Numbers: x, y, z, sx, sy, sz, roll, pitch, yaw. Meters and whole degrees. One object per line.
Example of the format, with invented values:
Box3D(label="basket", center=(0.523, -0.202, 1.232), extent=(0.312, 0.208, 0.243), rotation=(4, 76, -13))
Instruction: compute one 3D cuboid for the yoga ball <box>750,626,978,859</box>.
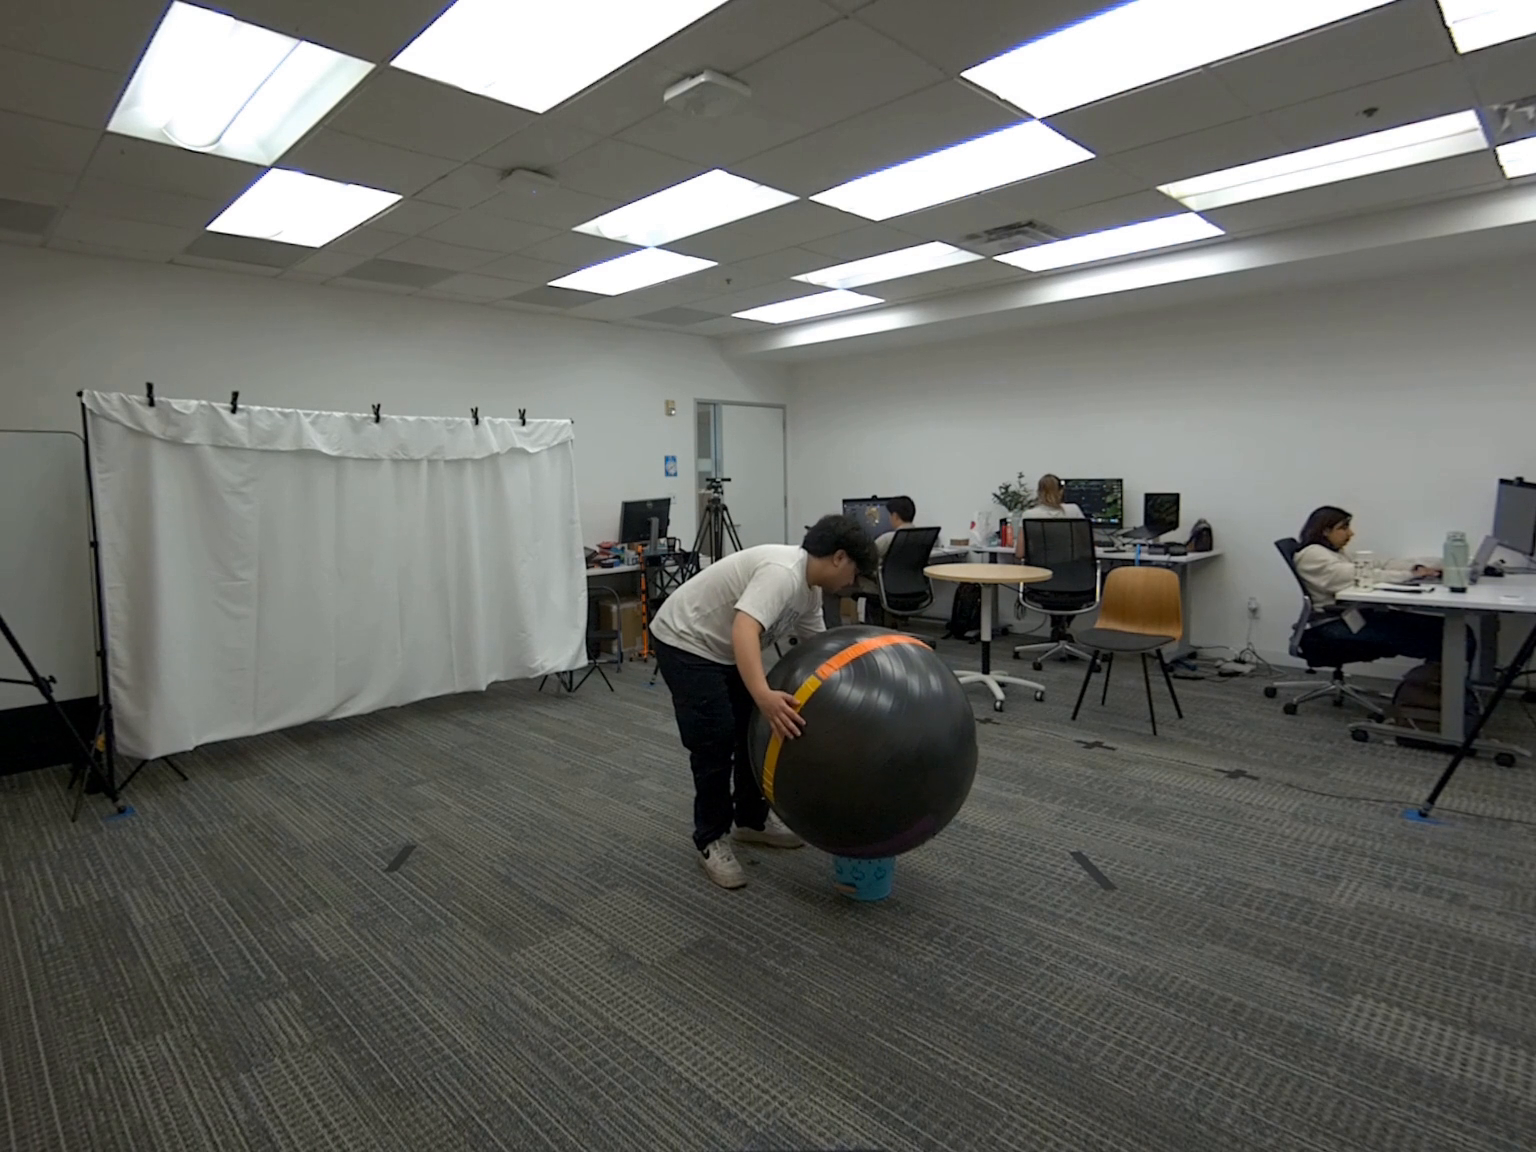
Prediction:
Box3D(label="yoga ball", center=(0.325, 0.558, 2.852), extent=(0.757, 0.755, 0.762), rotation=(-1, 5, -2))
